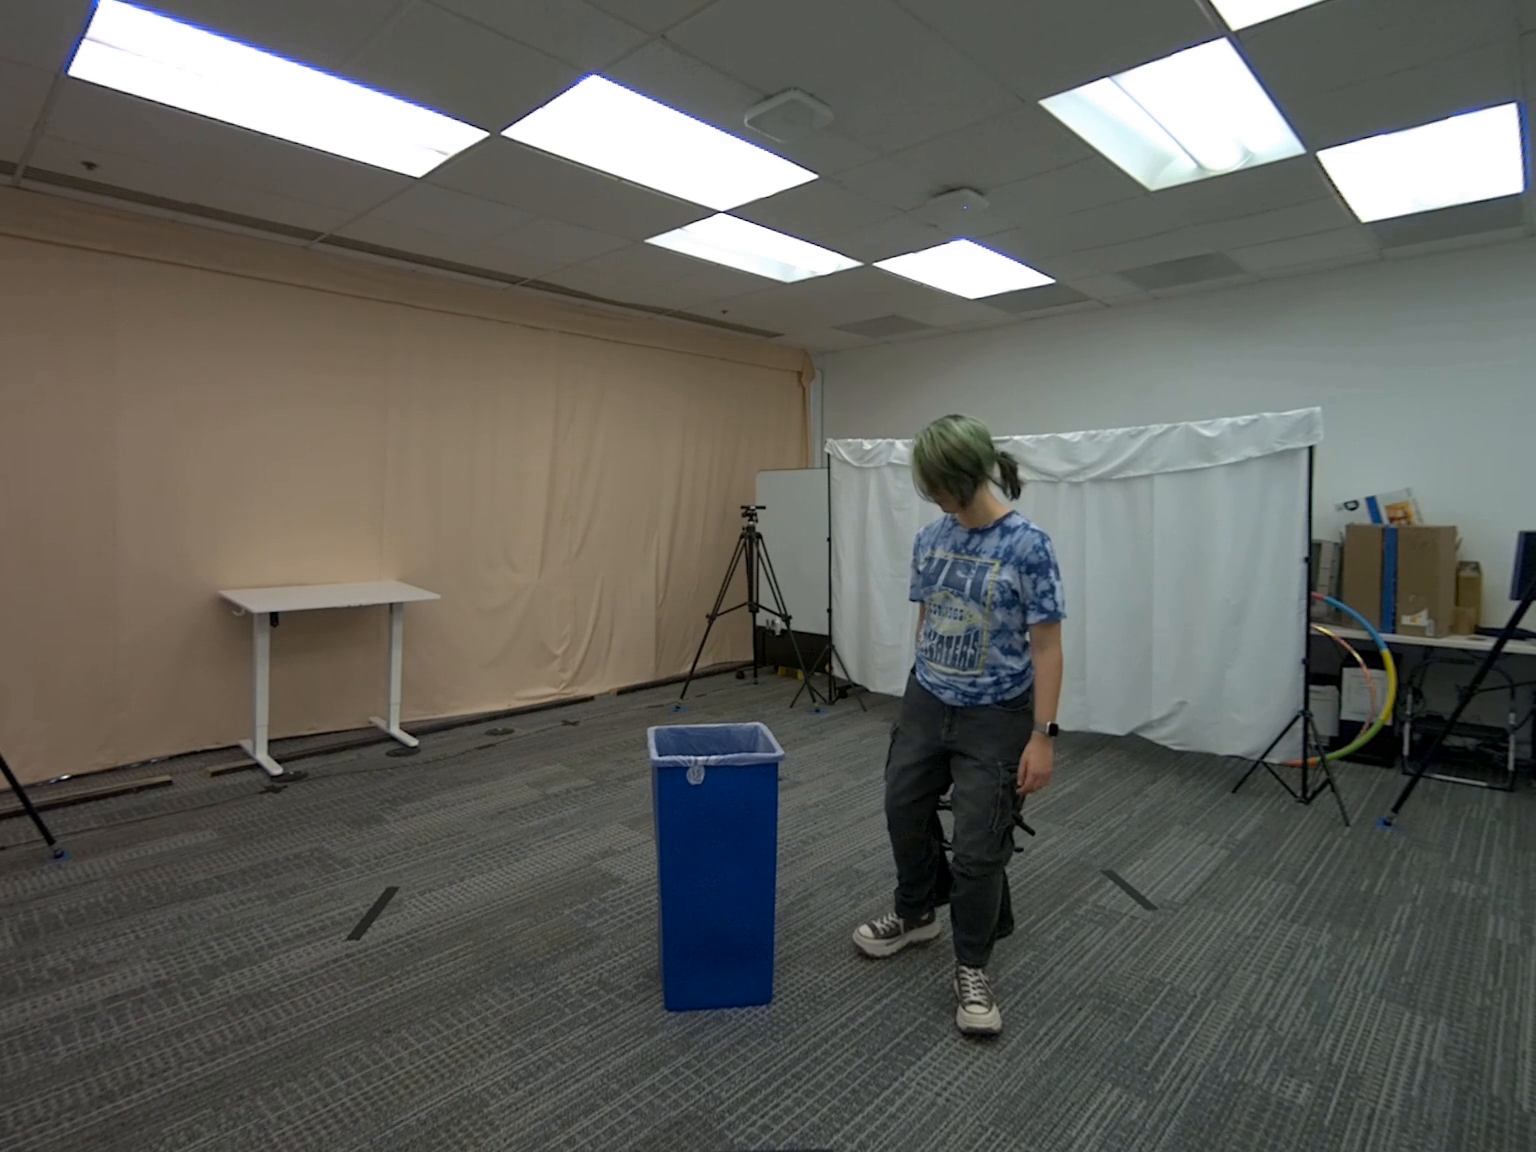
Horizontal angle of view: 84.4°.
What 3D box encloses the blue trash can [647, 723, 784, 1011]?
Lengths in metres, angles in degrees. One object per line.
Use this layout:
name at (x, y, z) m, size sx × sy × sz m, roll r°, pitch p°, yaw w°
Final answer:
blue trash can at (-0.160, 0.833, 2.464) m, size 0.375 × 0.712 × 0.378 m, roll -1°, pitch 3°, yaw -9°
